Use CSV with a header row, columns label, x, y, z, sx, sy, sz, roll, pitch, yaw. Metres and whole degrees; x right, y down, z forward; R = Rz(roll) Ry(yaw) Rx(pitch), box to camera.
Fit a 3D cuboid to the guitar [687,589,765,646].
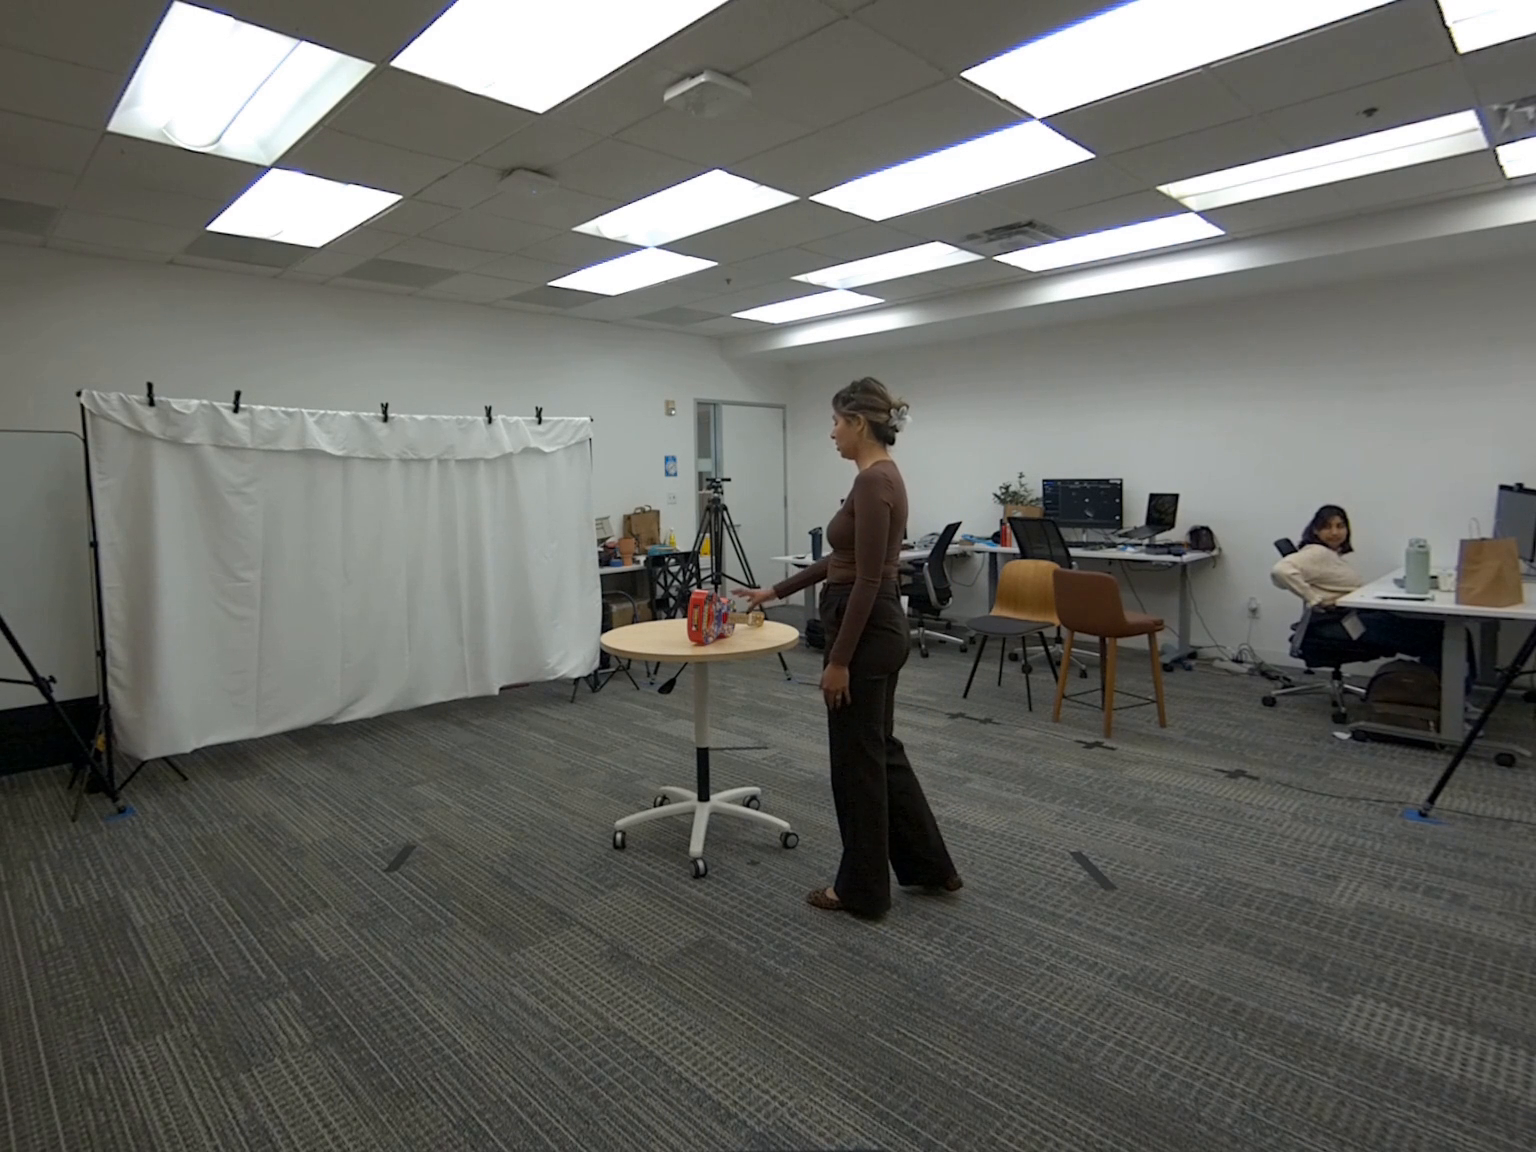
label,x,y,z,sx,sy,sz,roll,pitch,yaw
guitar,-0.156,0.187,3.265,0.072,0.195,0.481,0,-13,26
